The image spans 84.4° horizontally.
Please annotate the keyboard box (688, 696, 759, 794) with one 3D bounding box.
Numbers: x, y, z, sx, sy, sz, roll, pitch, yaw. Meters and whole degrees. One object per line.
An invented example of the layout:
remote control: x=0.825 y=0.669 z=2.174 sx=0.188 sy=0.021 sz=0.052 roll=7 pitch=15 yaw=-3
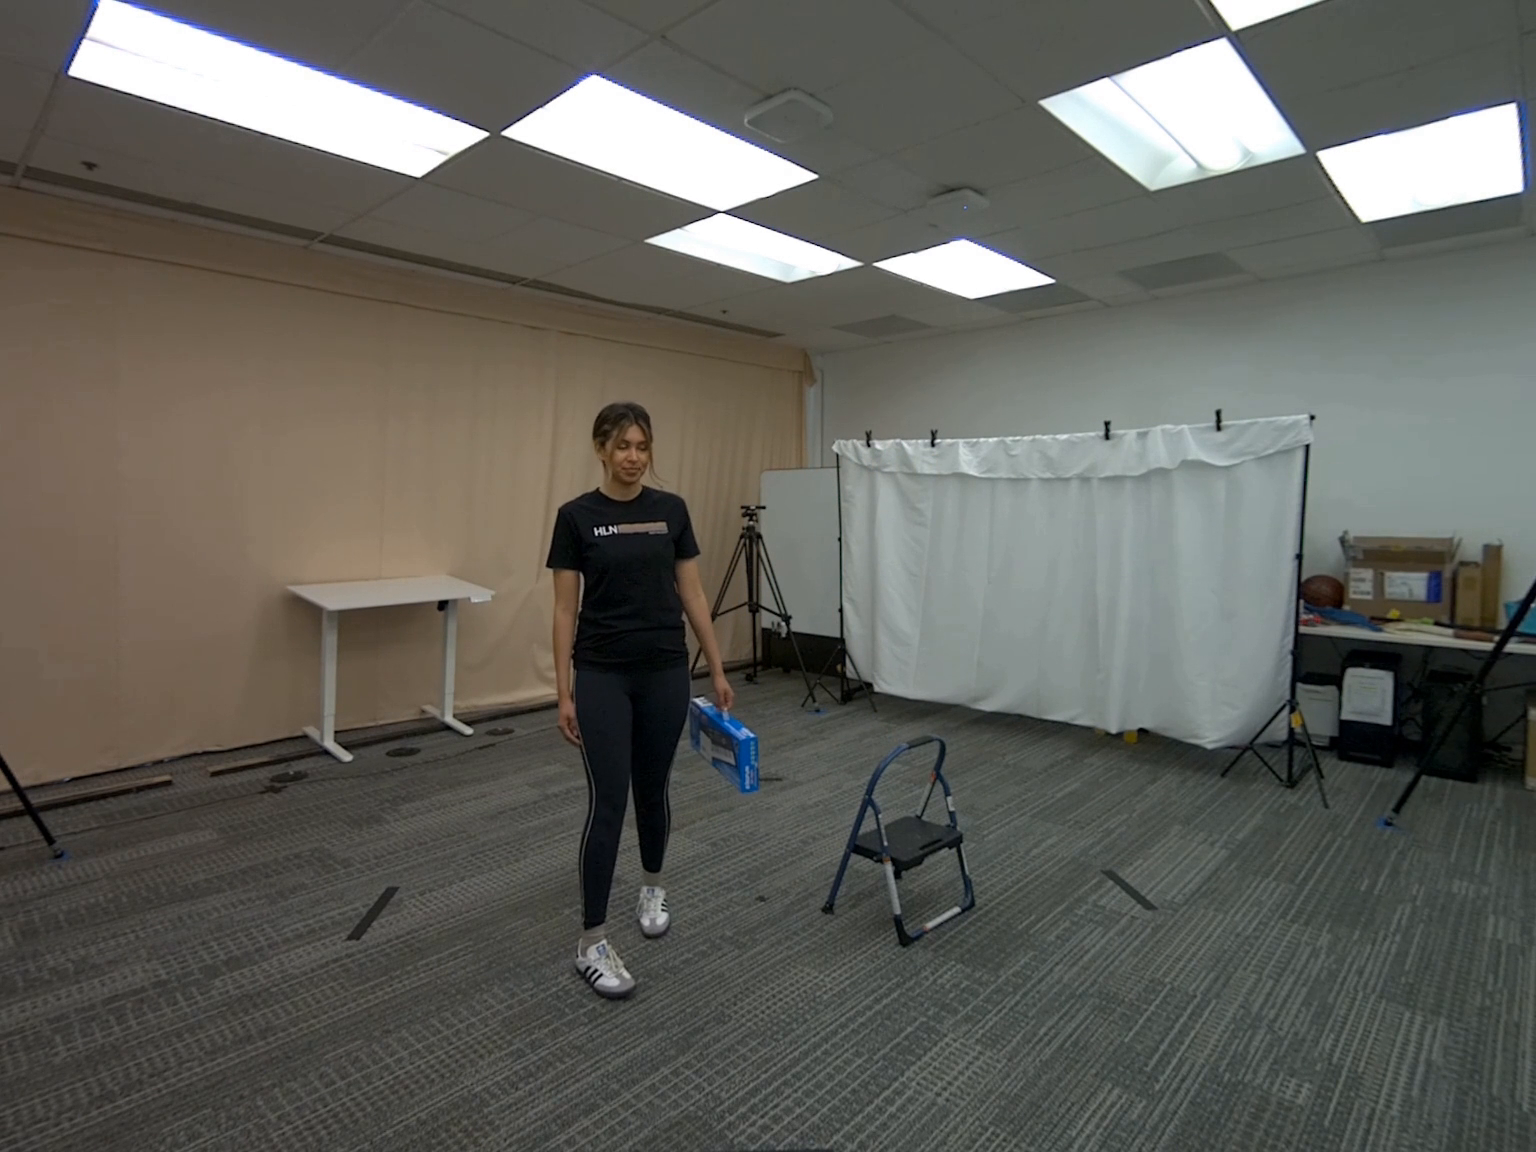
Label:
keyboard box: x=-0.147 y=0.540 z=2.722 sx=0.058 sy=0.175 sz=0.449 roll=-4 pitch=10 yaw=-26
